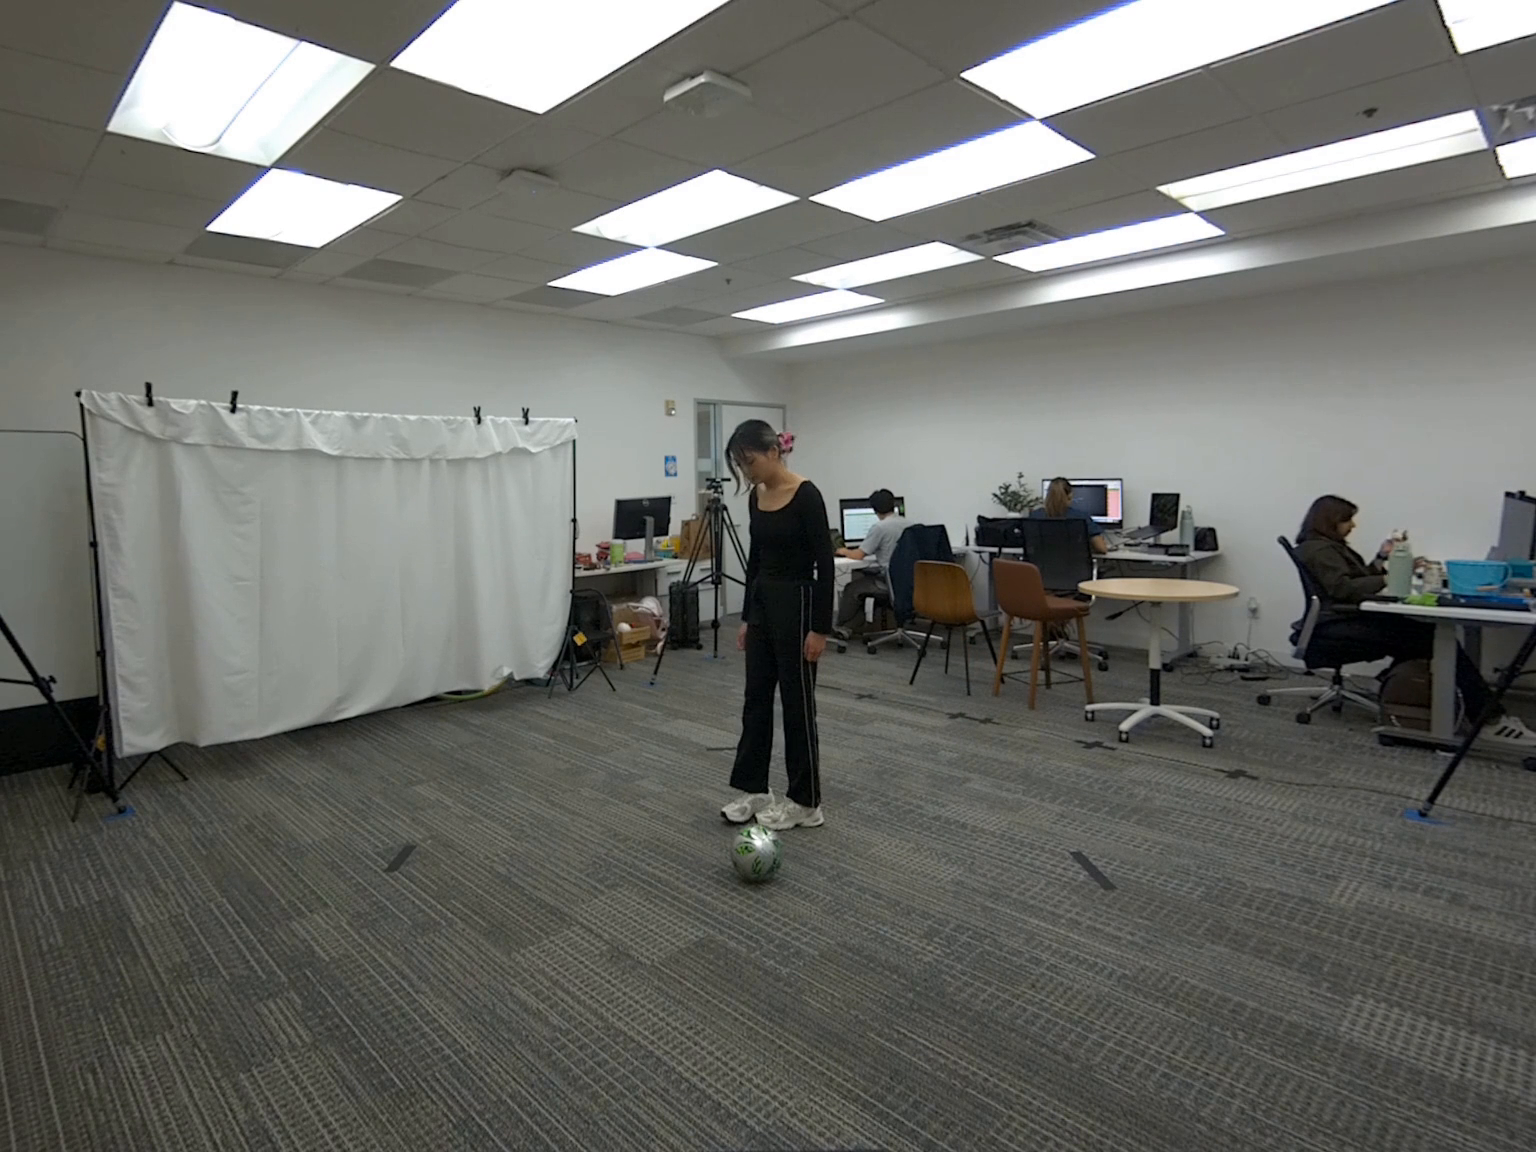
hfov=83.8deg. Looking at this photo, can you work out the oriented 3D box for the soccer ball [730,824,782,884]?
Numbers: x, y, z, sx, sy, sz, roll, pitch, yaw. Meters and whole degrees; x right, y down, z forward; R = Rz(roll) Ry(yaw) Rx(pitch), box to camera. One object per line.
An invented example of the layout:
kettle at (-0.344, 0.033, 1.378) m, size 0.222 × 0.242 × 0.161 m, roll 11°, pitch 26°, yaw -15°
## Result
soccer ball at (-0.036, 0.968, 2.978) m, size 0.187 × 0.187 × 0.188 m, roll -1°, pitch 5°, yaw -2°
